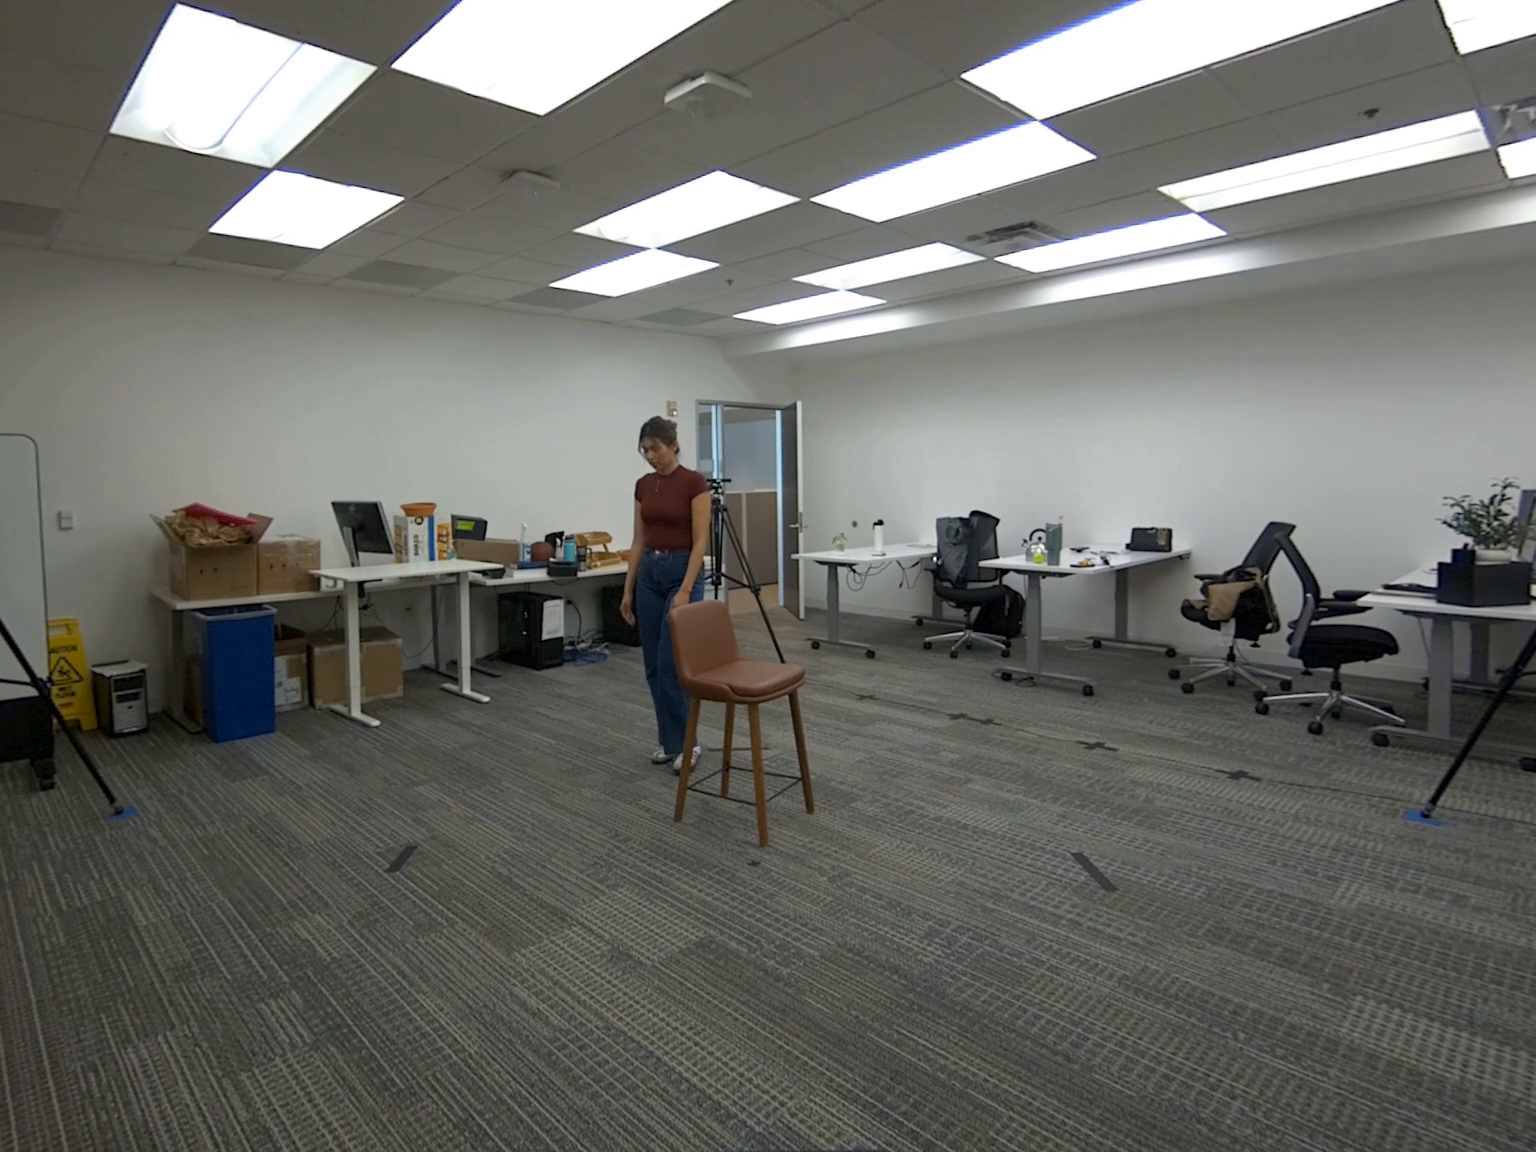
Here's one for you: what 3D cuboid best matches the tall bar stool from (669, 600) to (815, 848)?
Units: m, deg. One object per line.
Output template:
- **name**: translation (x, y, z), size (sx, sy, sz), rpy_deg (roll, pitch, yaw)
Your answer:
- **tall bar stool**: translation (-0.112, 0.563, 3.515), size (0.480, 0.888, 0.445), rpy_deg (-1, 3, 33)
